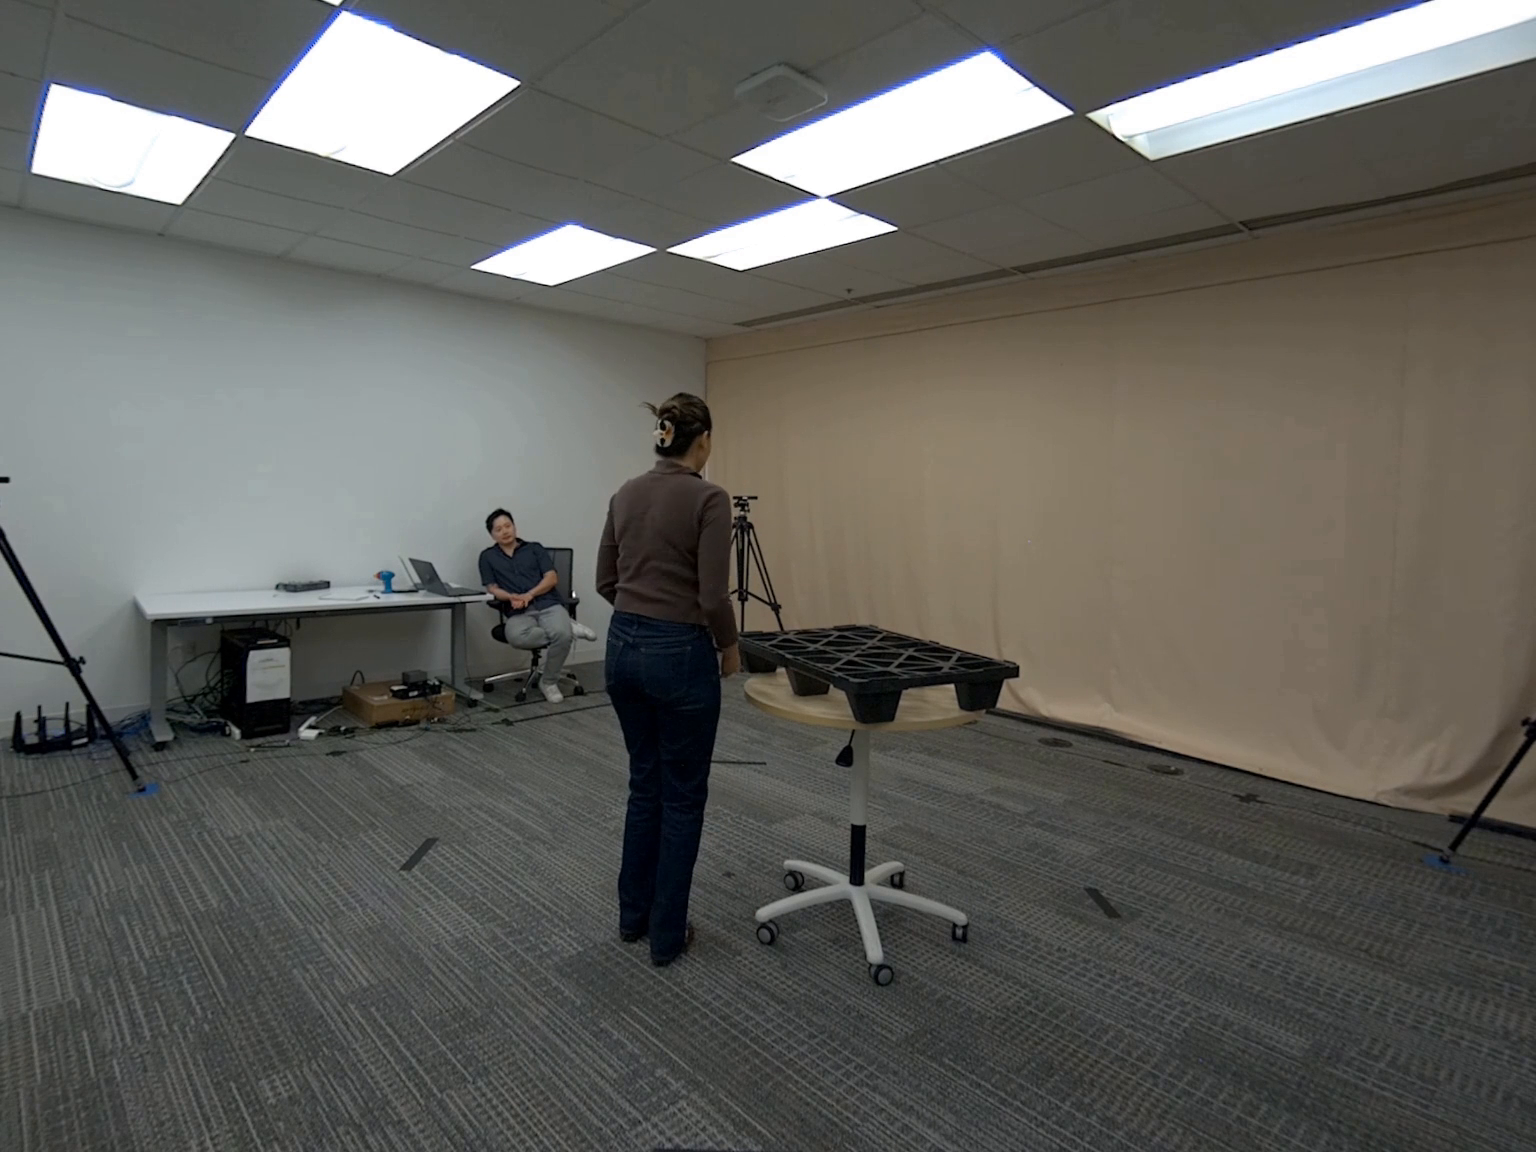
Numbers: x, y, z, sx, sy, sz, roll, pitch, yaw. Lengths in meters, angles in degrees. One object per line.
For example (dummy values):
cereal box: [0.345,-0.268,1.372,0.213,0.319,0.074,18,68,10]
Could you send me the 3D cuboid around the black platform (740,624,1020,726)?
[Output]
black platform: [0.305,0.301,2.717,0.594,0.143,0.823,-2,7,-27]
